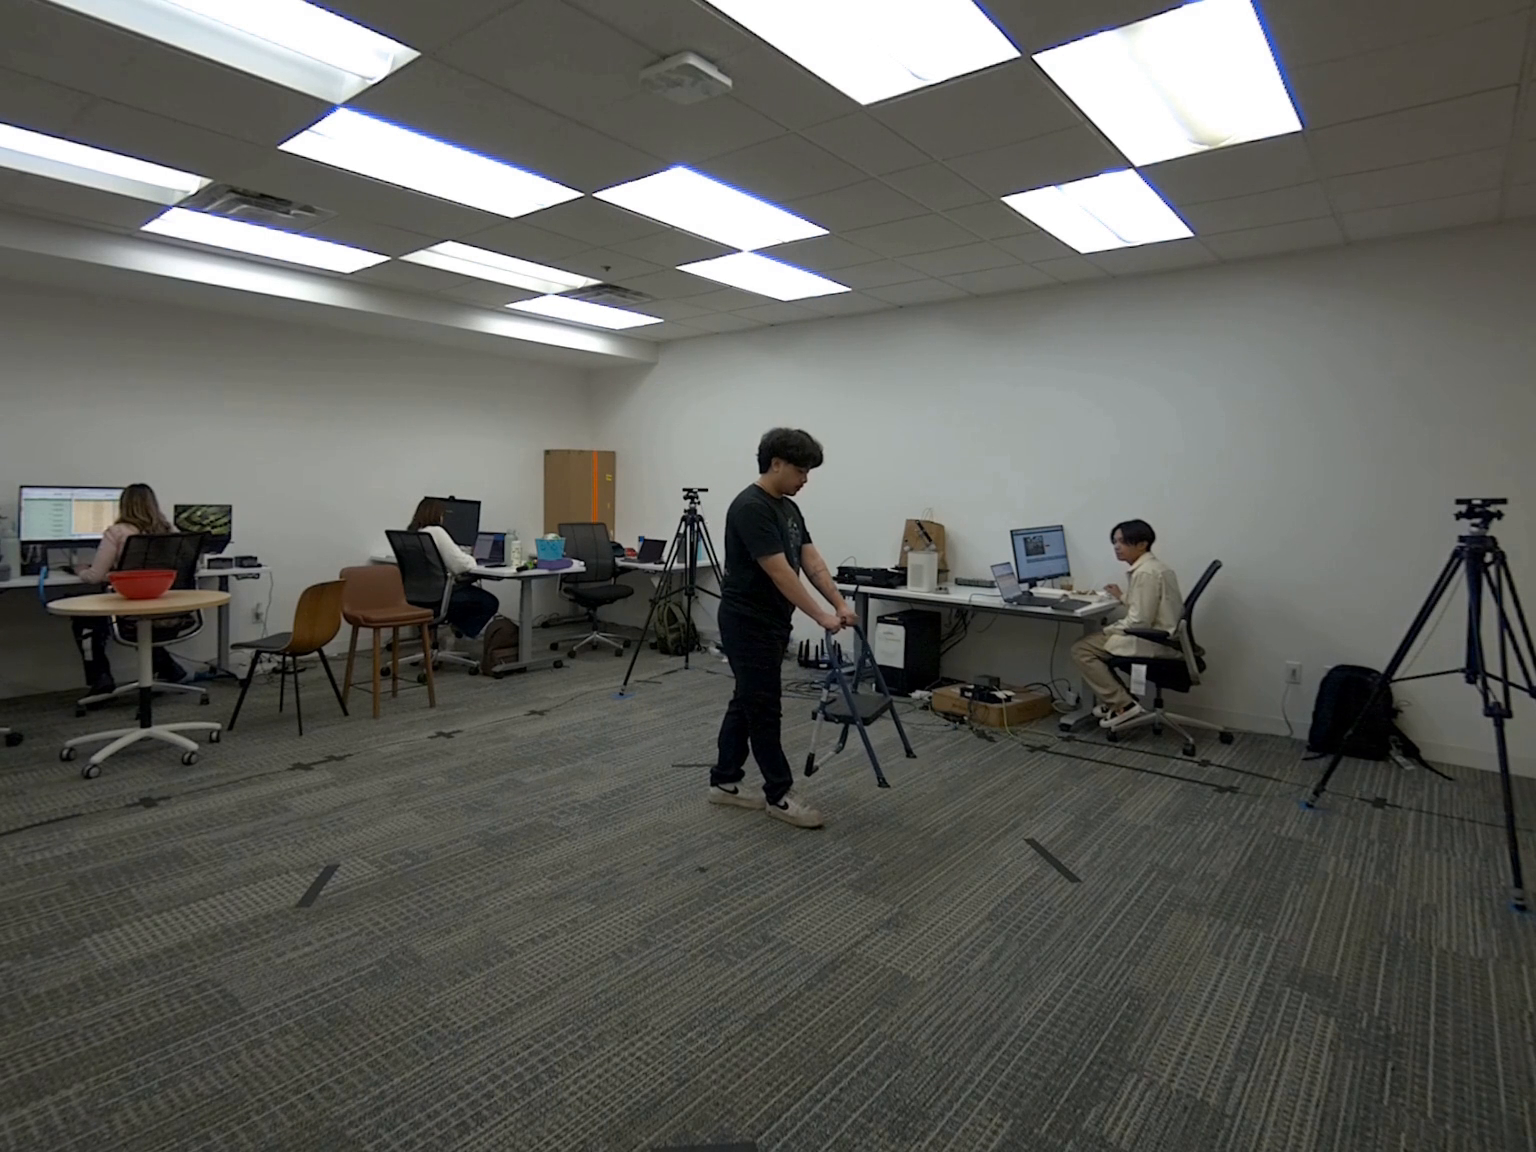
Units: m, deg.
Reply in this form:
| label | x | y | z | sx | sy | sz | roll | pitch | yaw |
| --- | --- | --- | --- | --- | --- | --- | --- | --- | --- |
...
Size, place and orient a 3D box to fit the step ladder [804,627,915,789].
| label | x | y | z | sx | sy | sz | roll | pitch | yaw |
| --- | --- | --- | --- | --- | --- | --- | --- | --- | --- |
| step ladder | 0.369 | 0.488 | 3.505 | 0.358 | 0.604 | 0.421 | 0 | 4 | 26 |
